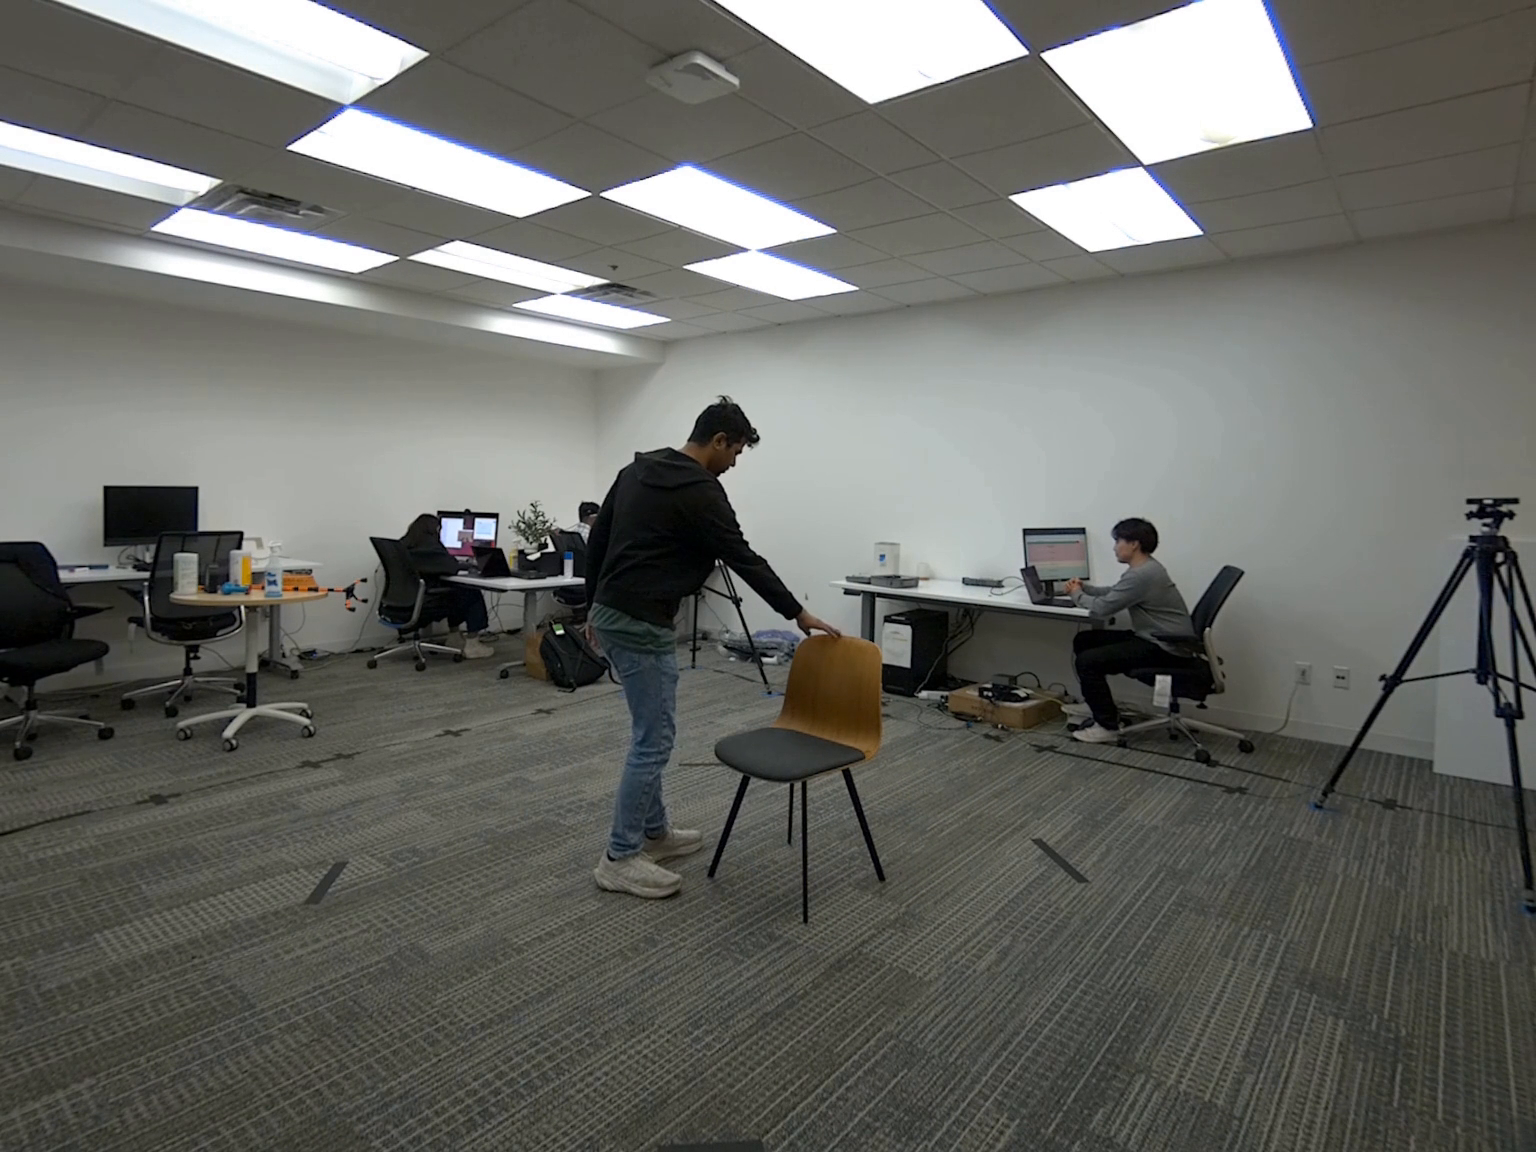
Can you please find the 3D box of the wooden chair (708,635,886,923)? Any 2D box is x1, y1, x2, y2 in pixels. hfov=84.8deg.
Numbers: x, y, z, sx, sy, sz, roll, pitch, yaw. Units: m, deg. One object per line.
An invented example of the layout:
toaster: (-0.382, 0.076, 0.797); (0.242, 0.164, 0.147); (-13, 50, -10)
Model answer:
wooden chair: (0.100, 0.659, 3.008); (0.494, 0.877, 0.506); (5, 1, 43)
